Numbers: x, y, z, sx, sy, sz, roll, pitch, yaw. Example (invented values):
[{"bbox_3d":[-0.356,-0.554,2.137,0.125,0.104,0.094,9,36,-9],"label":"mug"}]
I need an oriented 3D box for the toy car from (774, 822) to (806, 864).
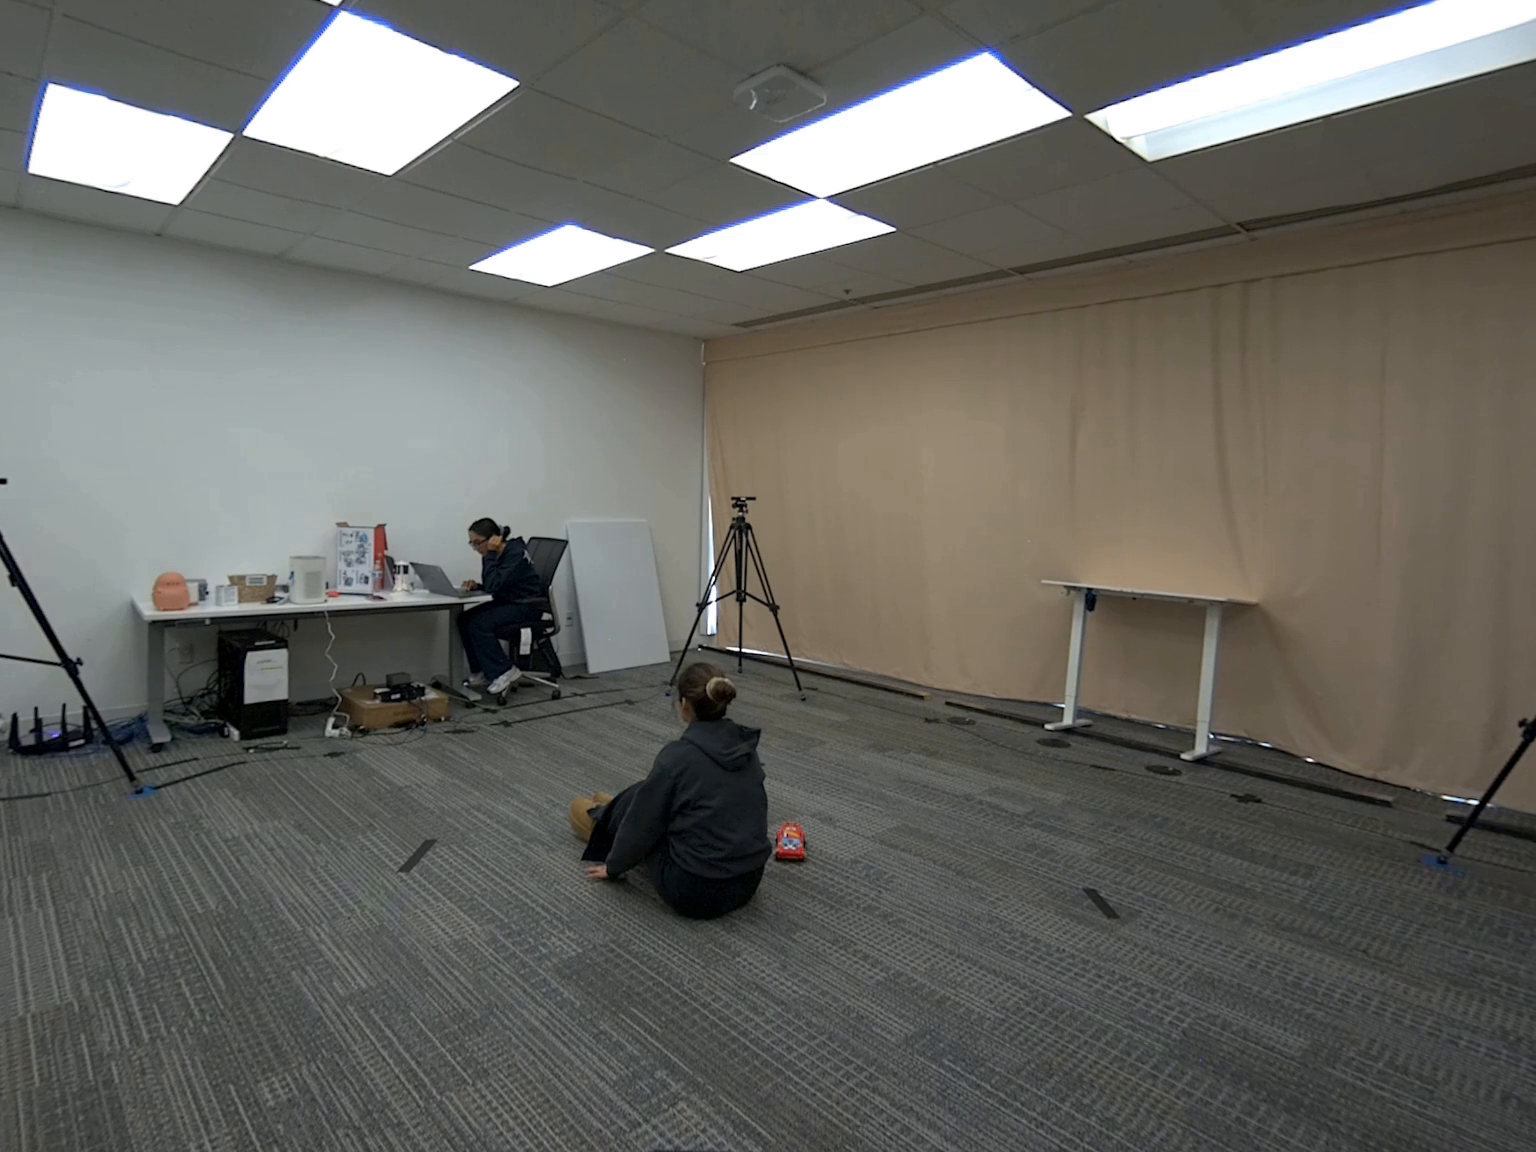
[{"bbox_3d":[0.082,1.057,3.356,0.131,0.082,0.257,0,17,2],"label":"toy car"}]
